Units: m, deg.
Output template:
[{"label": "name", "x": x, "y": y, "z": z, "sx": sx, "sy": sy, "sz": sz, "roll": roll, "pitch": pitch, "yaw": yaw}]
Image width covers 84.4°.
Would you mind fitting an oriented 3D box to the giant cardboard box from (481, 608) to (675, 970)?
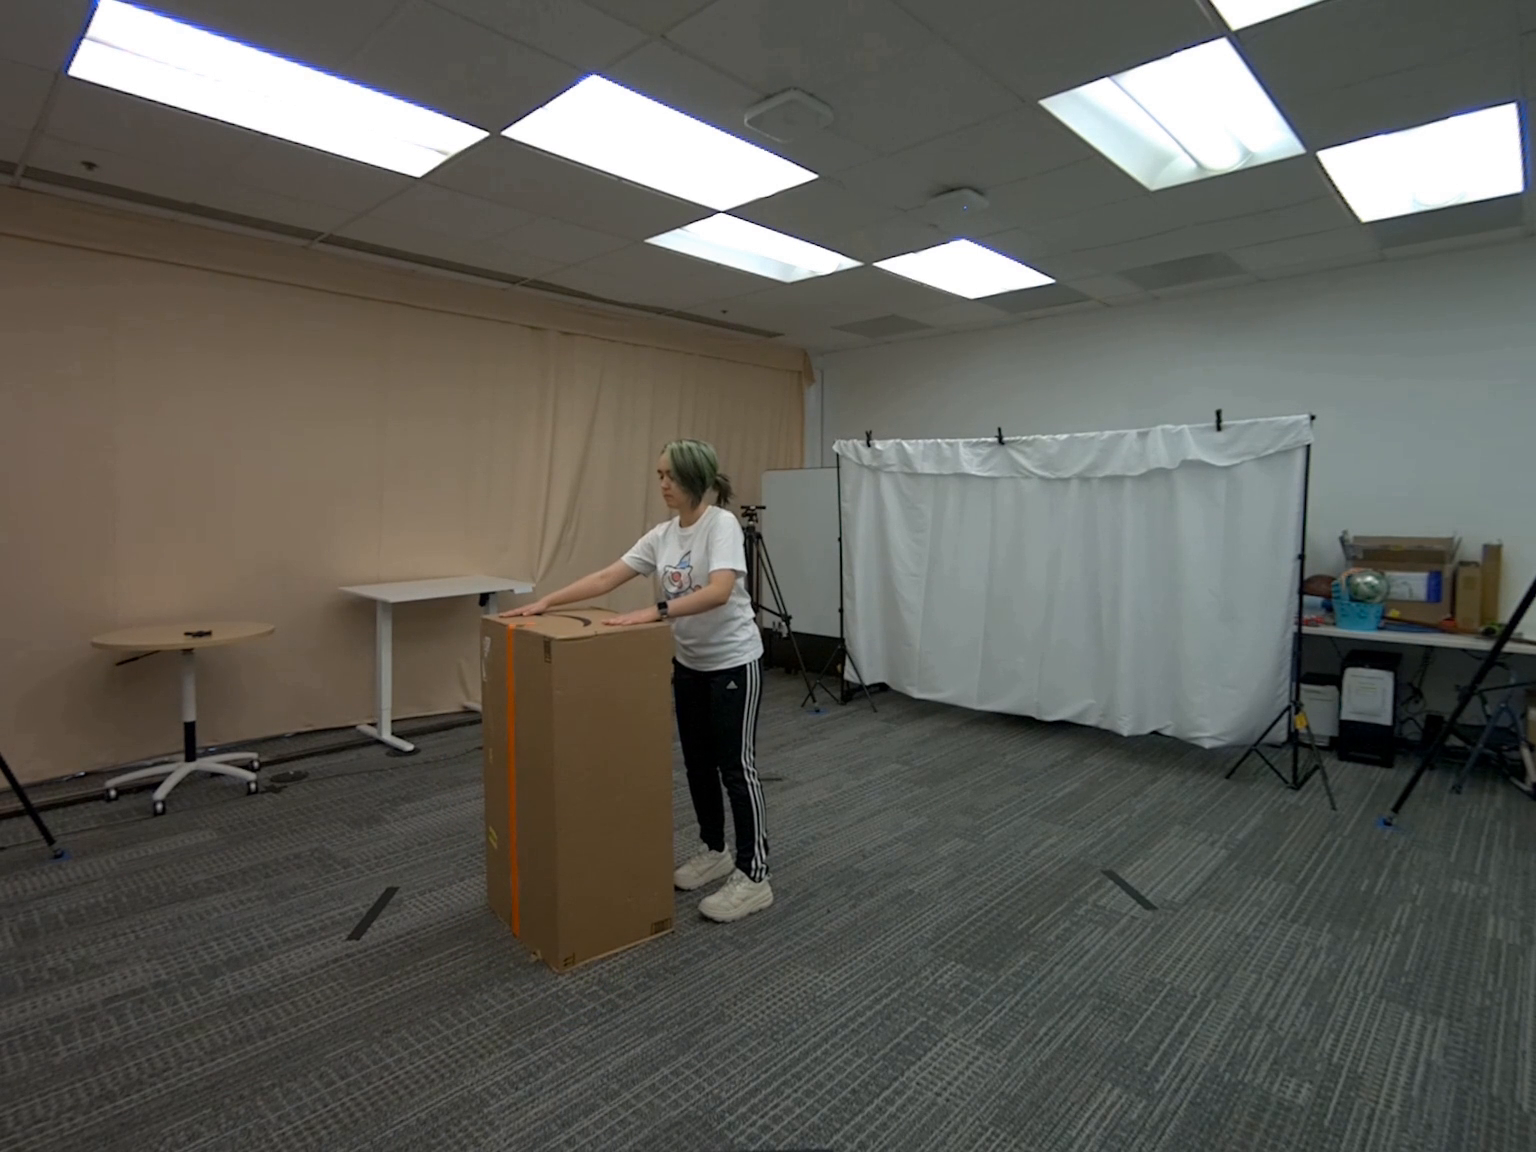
[{"label": "giant cardboard box", "x": -0.653, "y": 0.656, "z": 2.831, "sx": 0.433, "sy": 1.025, "sz": 0.603, "roll": -2, "pitch": 4, "yaw": -39}]
